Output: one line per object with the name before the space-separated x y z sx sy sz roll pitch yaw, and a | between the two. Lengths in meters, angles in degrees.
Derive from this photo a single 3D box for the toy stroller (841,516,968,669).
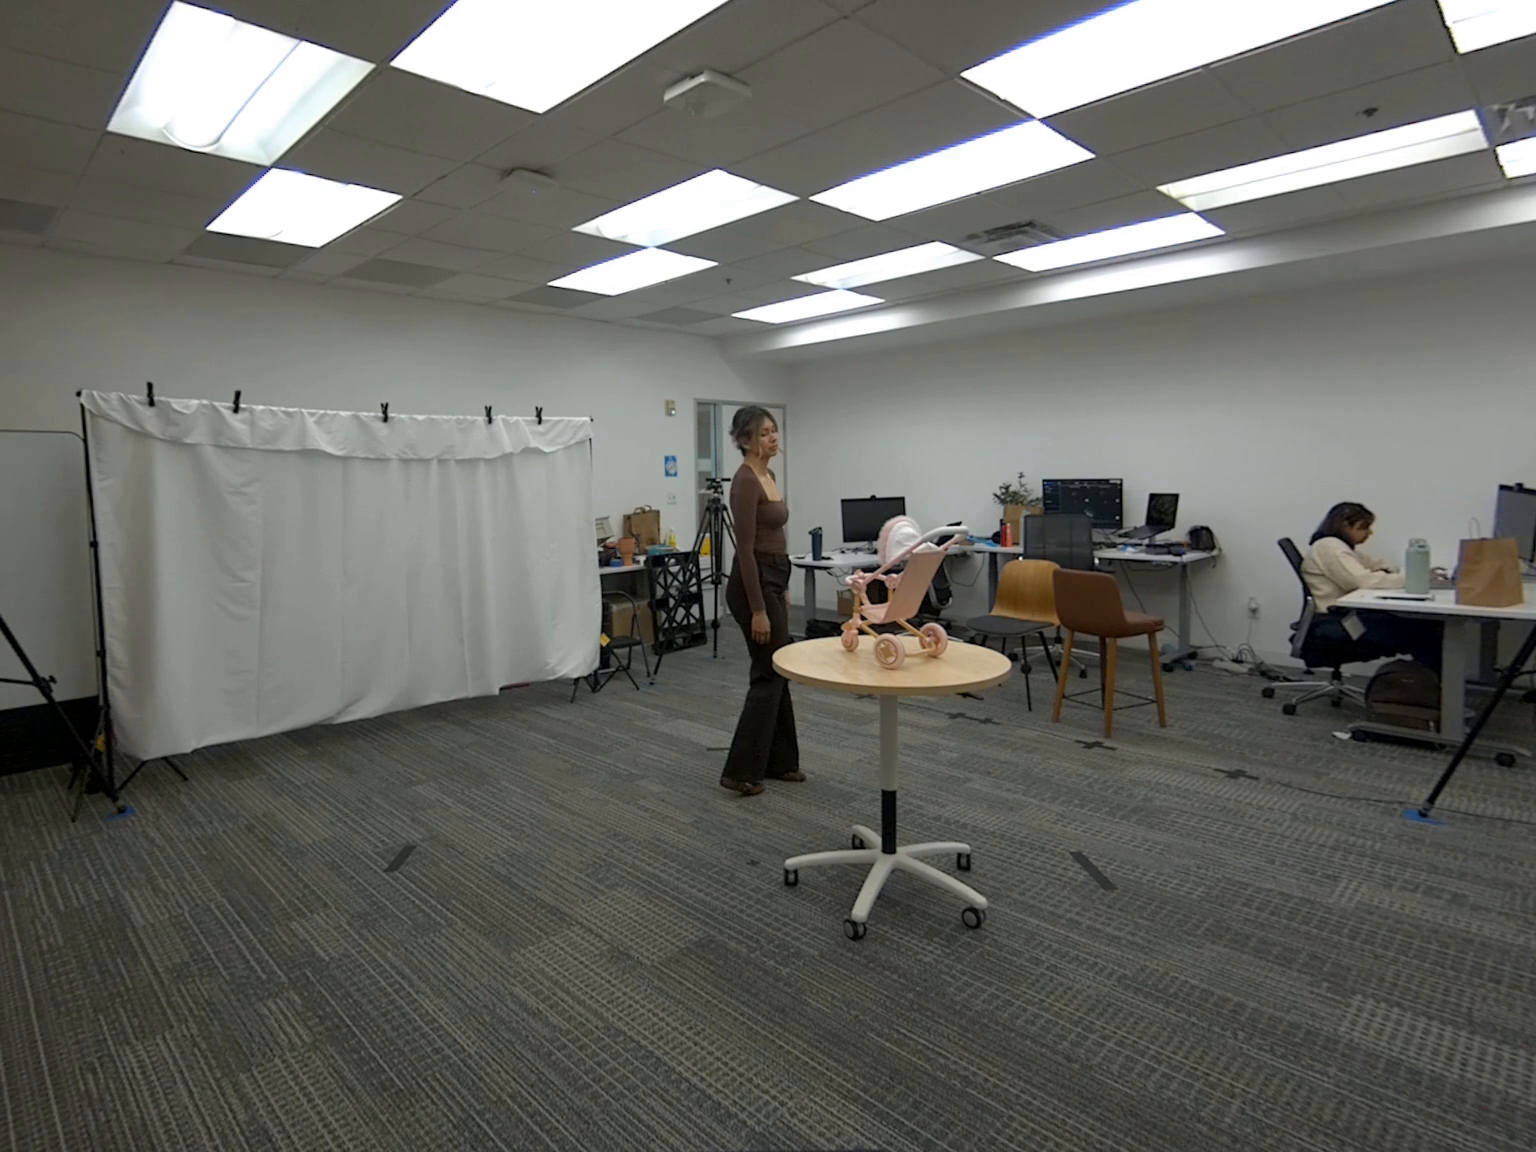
toy stroller | 0.418 0.051 2.773 0.274 0.529 0.354 -4 20 -39
